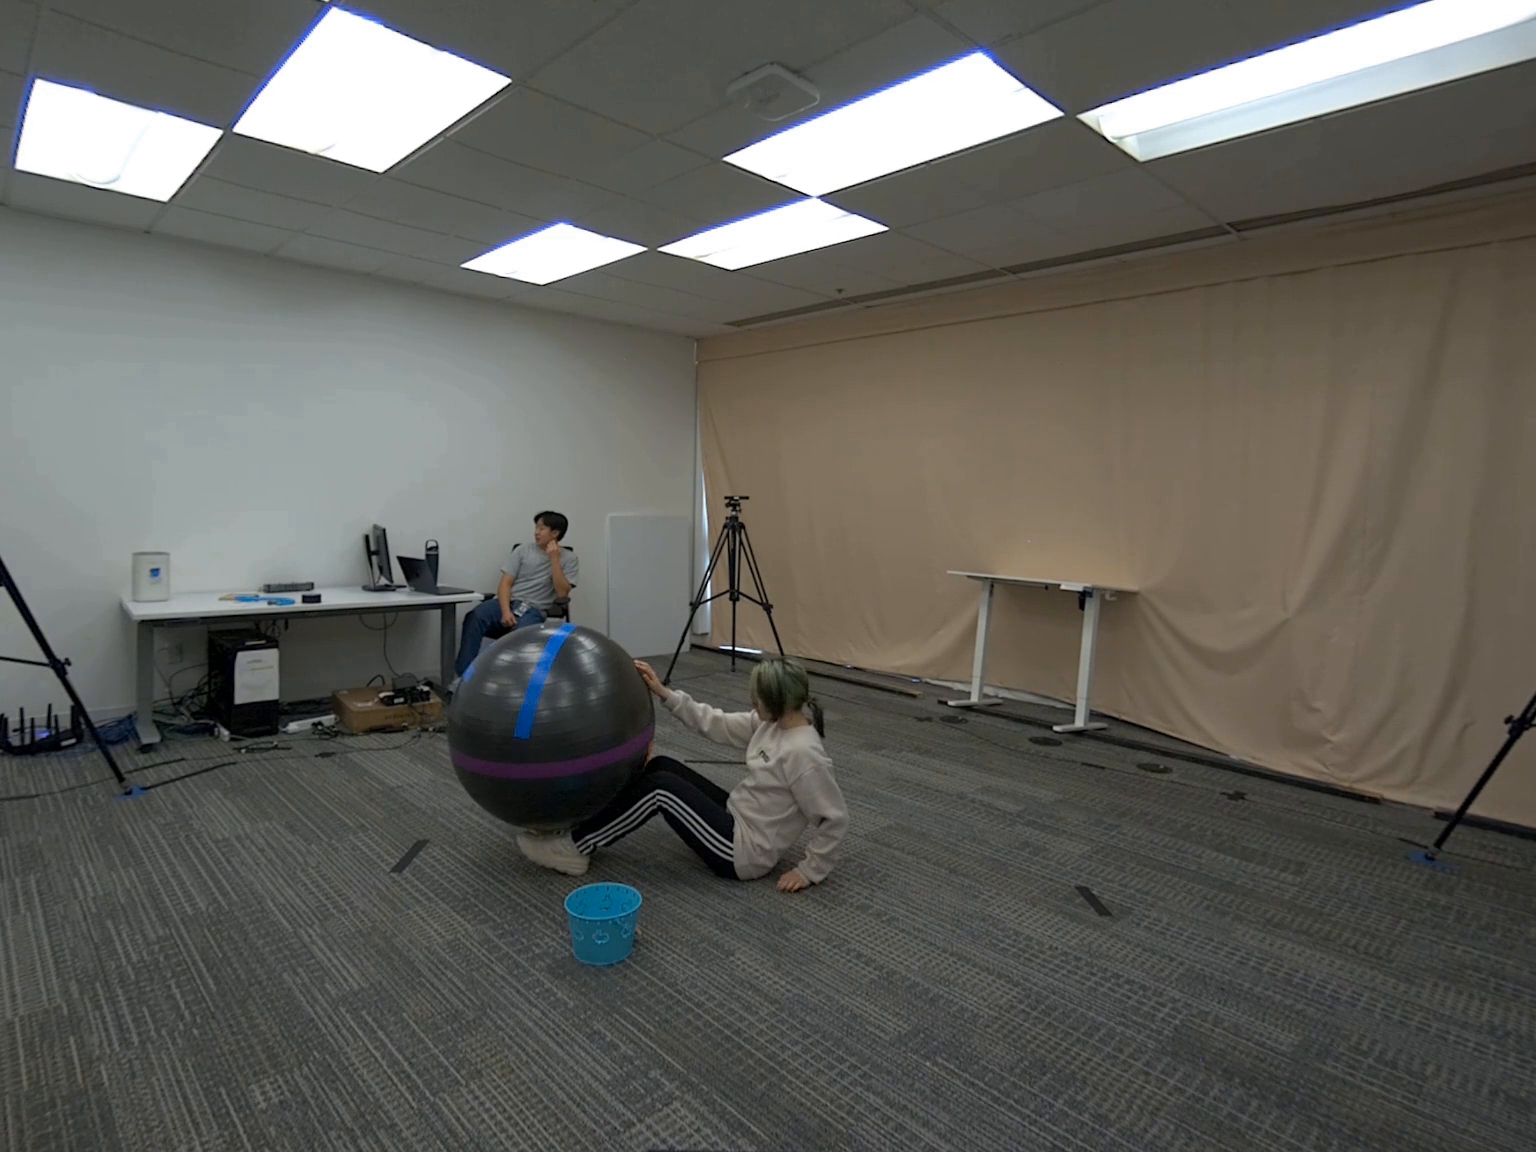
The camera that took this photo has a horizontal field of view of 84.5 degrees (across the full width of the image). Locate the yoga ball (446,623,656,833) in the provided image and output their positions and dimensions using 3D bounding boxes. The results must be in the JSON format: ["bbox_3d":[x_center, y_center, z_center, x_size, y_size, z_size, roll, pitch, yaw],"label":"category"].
[{"bbox_3d":[-0.827,0.559,3.149,0.757,0.756,0.761,1,4,-1],"label":"yoga ball"}]
